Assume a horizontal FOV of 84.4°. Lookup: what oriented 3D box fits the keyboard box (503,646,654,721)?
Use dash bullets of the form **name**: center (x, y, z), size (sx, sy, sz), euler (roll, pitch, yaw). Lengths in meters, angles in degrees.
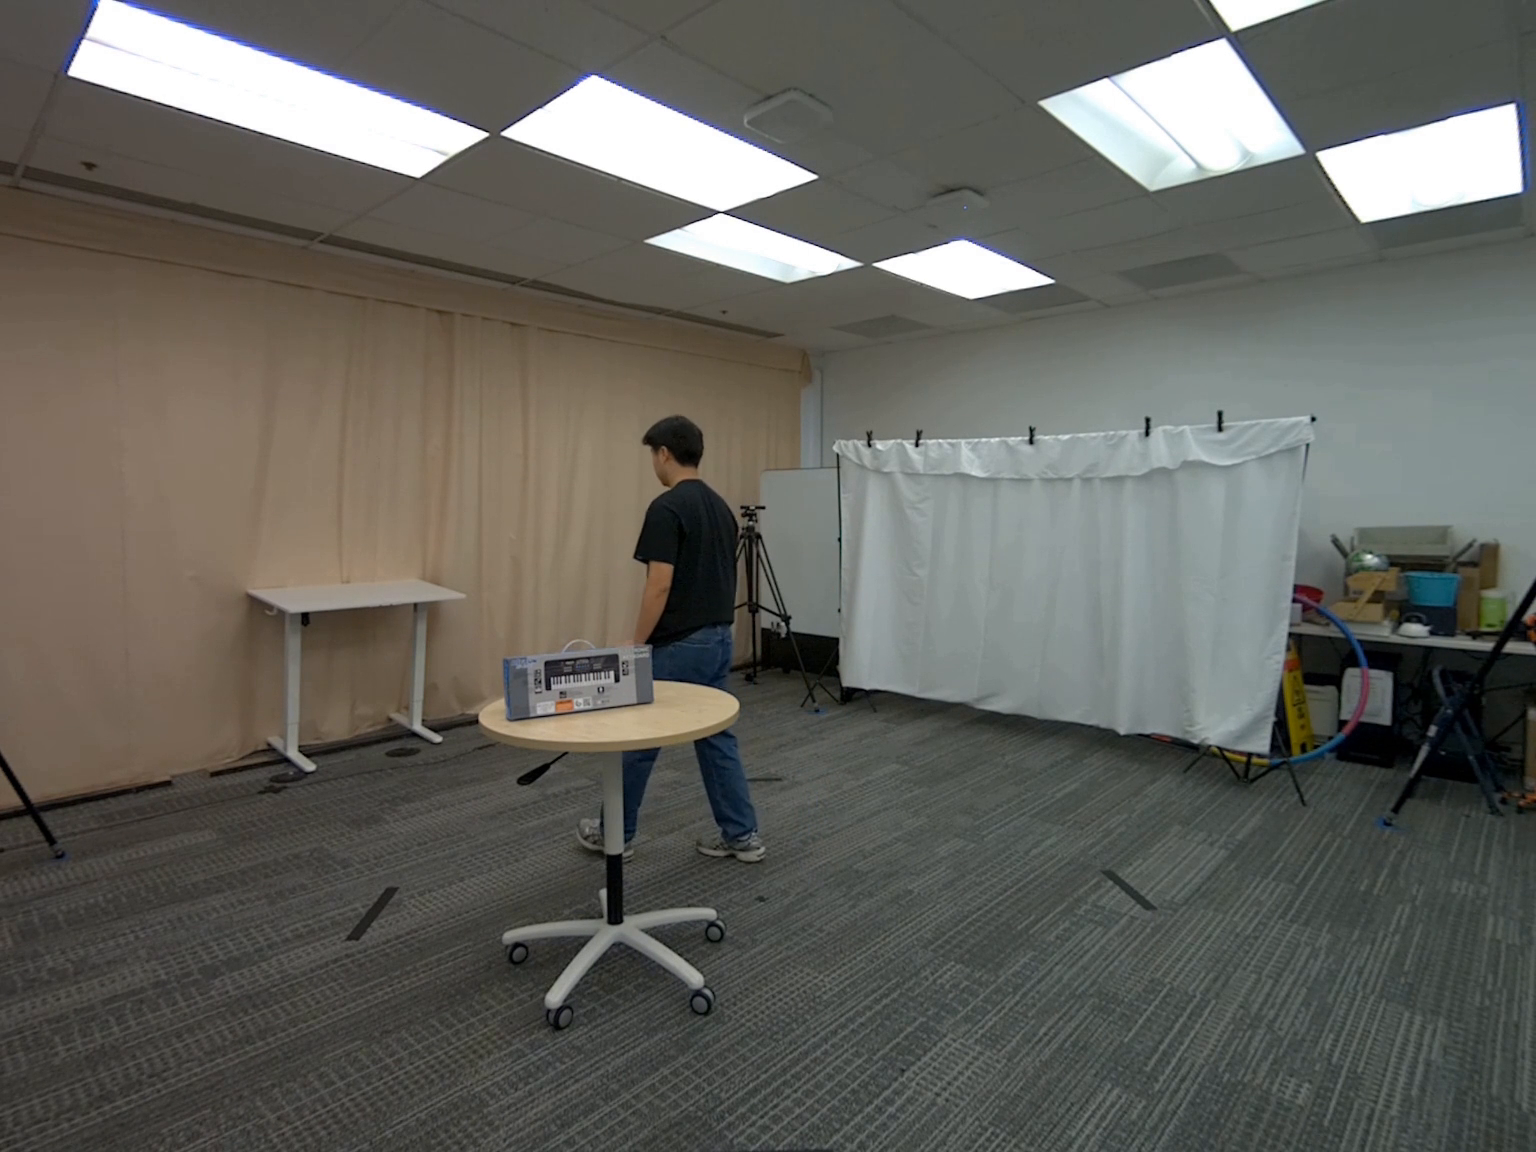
- **keyboard box**: center (-0.547, 0.308, 2.471), size (0.426, 0.176, 0.060), euler (-3, -2, -26)
